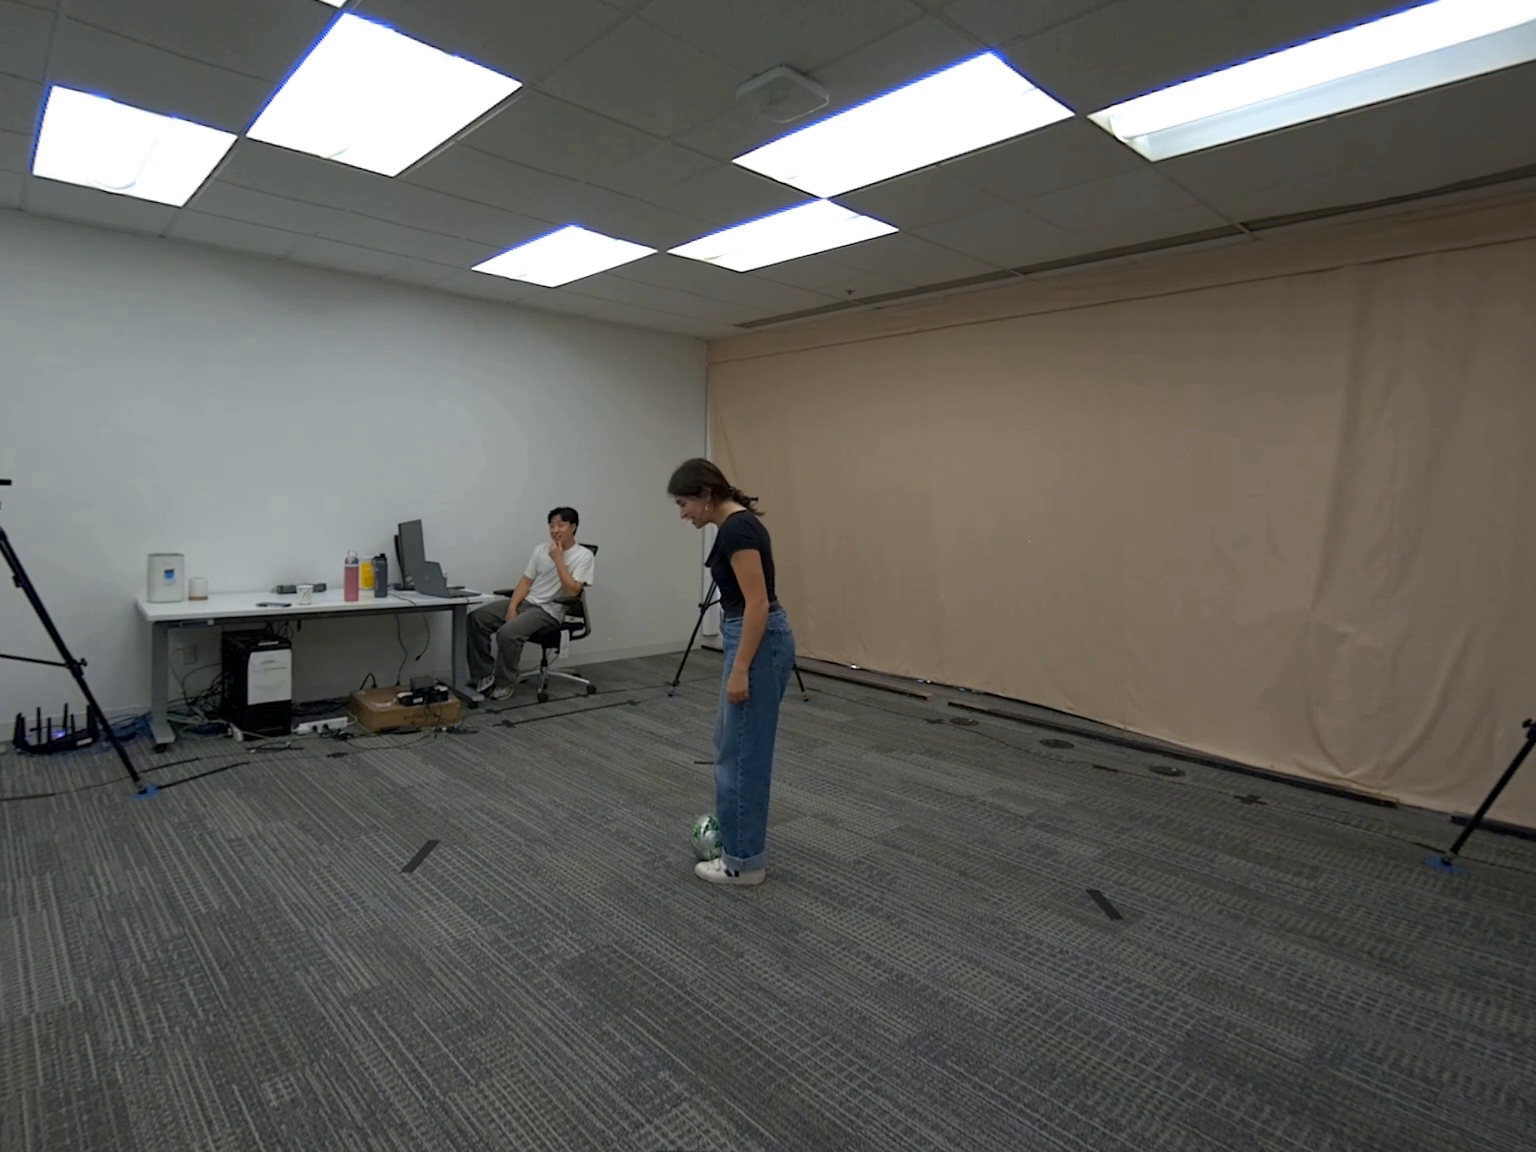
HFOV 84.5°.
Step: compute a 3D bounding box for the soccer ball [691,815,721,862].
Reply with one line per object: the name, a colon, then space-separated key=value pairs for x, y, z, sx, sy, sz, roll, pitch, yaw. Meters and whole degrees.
soccer ball: x=-0.218 y=1.013 z=3.206 sx=0.187 sy=0.187 sz=0.188 roll=1 pitch=4 yaw=-1
